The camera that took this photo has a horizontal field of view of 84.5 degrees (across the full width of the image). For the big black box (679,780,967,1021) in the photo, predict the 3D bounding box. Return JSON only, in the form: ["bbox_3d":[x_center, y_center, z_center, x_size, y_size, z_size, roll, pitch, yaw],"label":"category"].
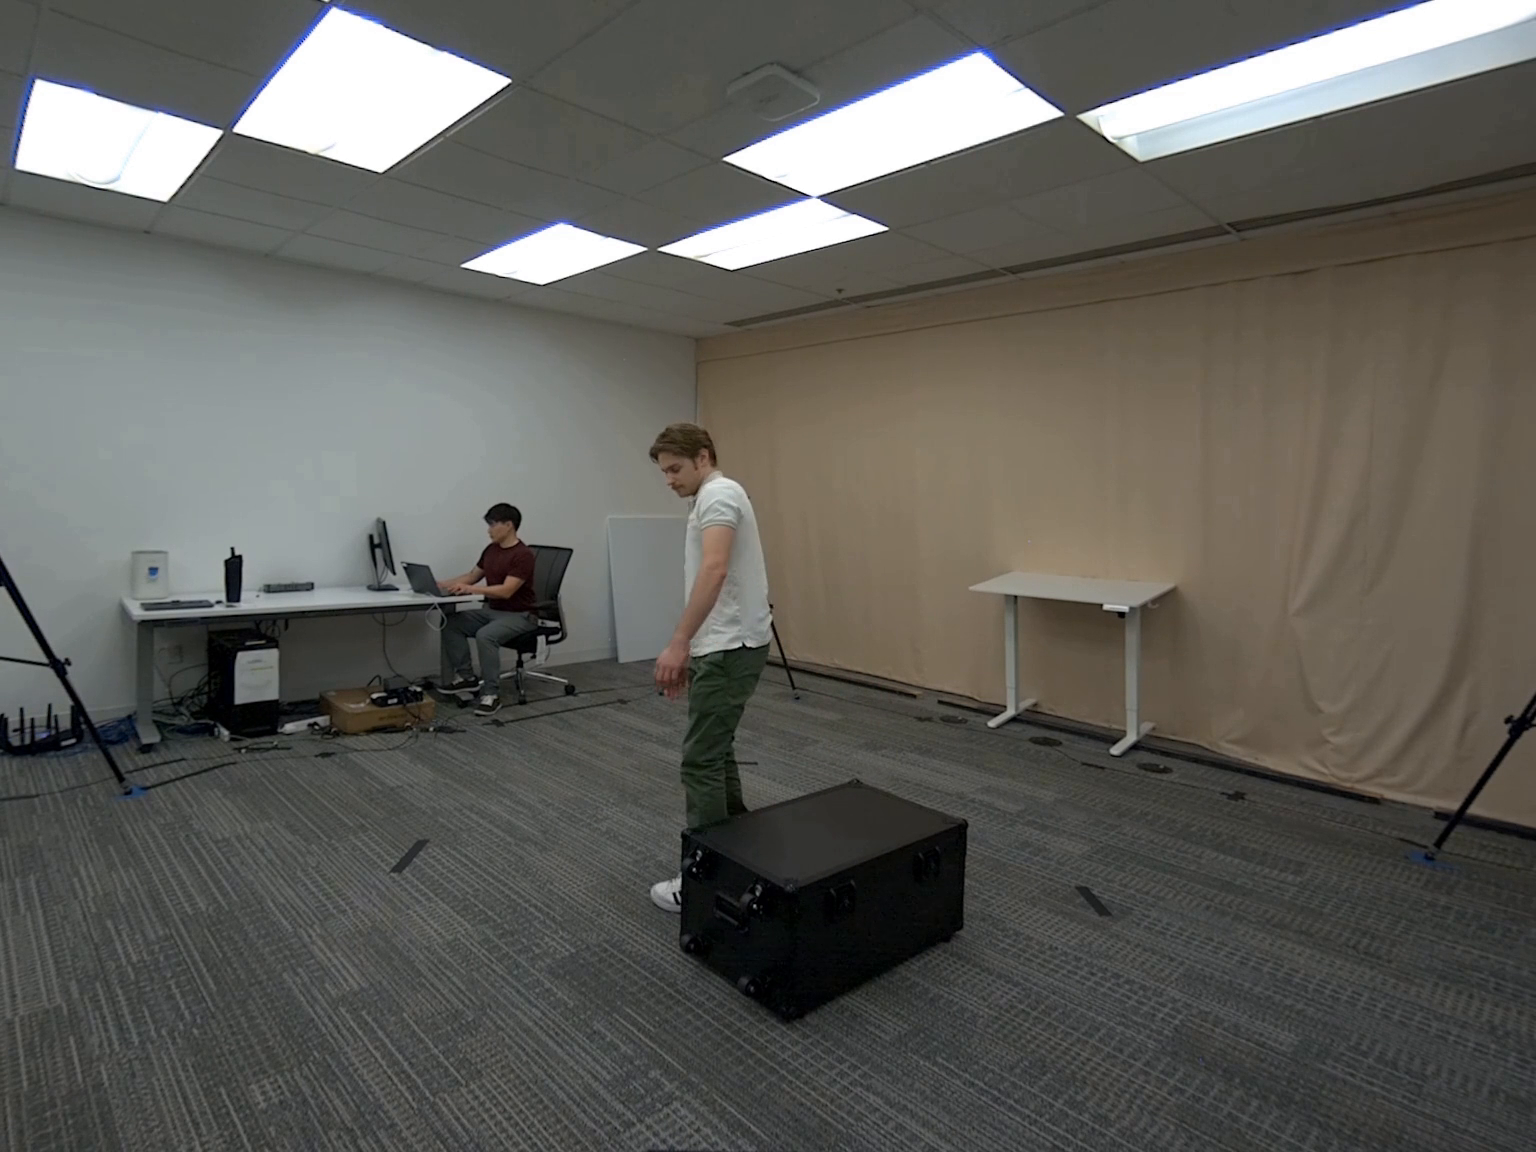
[{"bbox_3d":[0.151,0.962,2.608,0.849,0.384,0.537,-3,8,-41],"label":"big black box"}]
